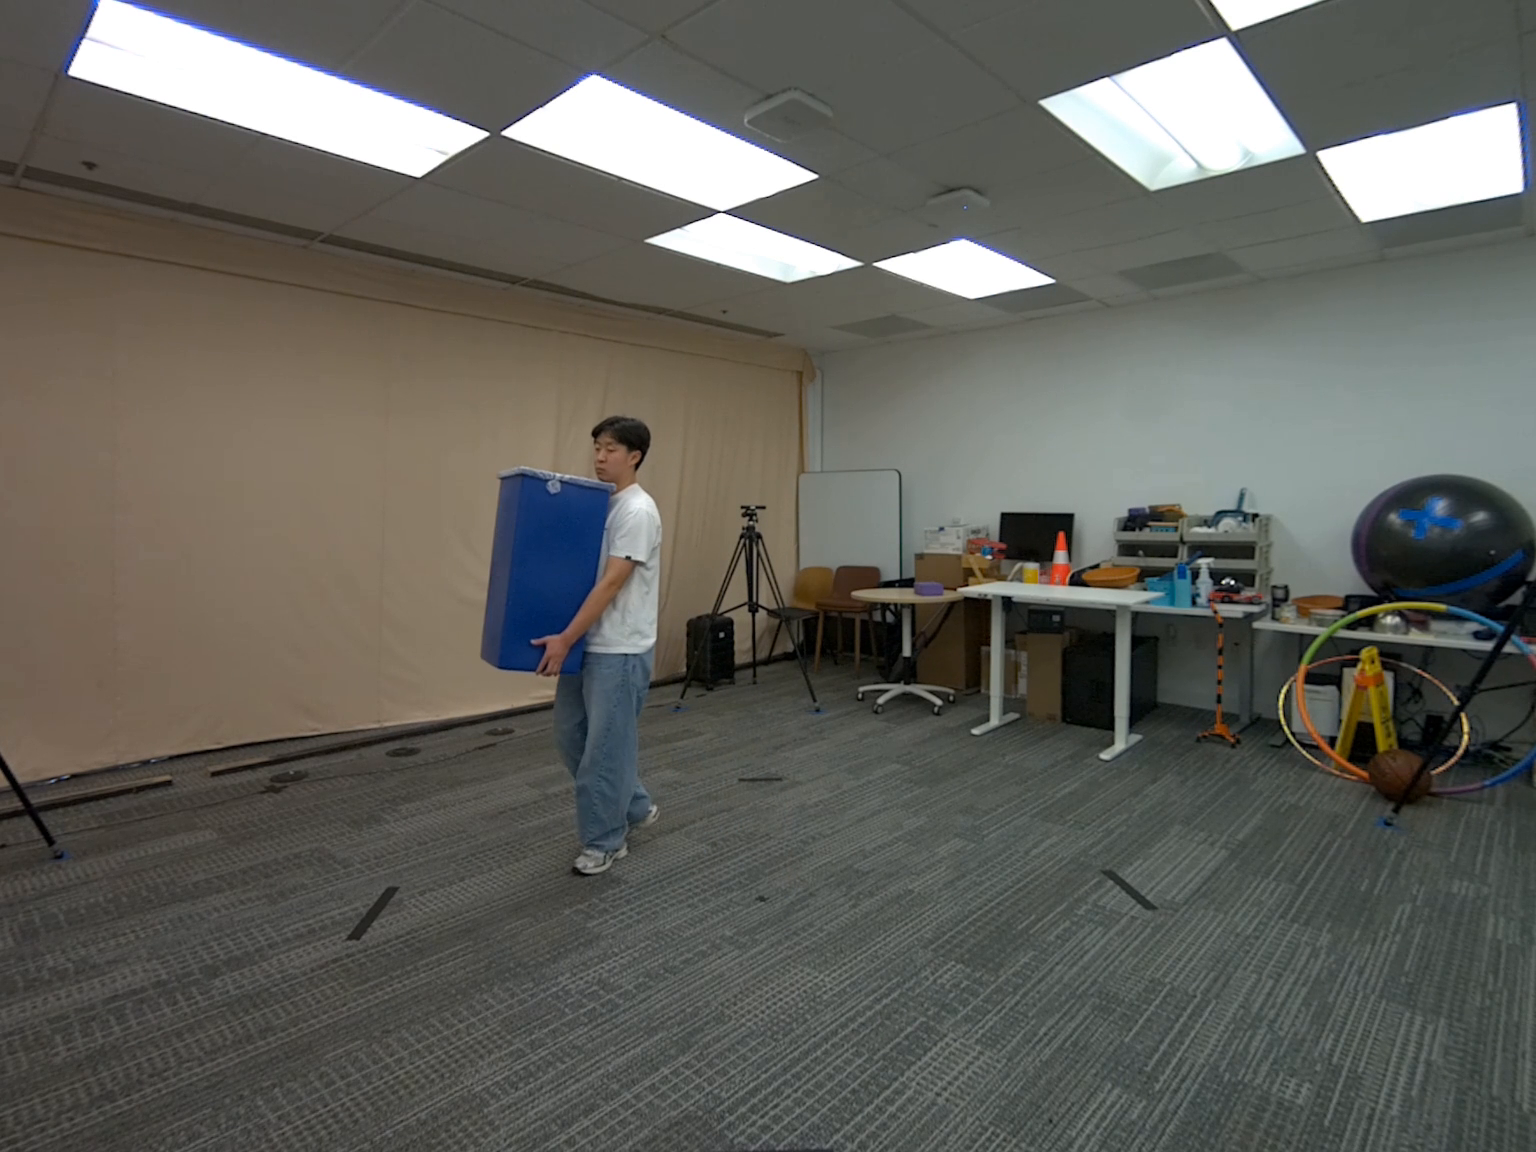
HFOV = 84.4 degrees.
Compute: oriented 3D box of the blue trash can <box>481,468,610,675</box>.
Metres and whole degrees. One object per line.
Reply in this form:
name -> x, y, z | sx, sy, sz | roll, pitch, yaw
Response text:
blue trash can -> -0.860, -0.019, 3.161 | 0.367, 0.714, 0.385 | 10, -3, -30
